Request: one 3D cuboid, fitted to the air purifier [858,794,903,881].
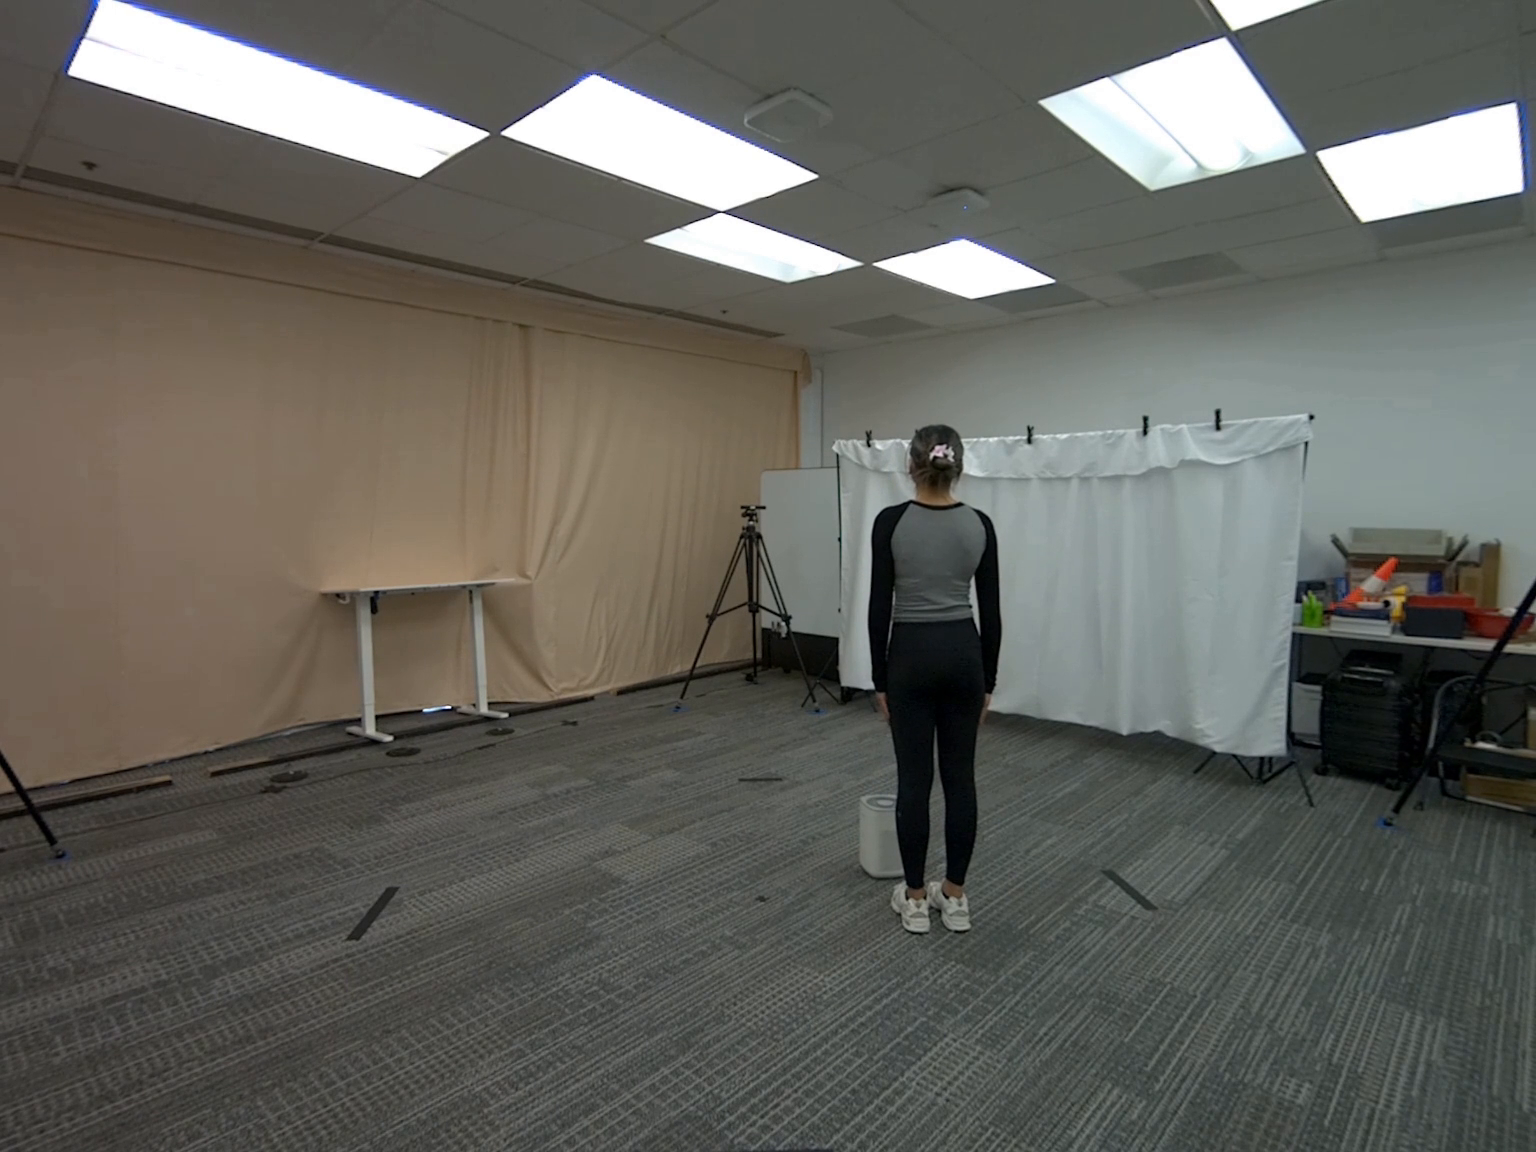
[{"bbox_3d":[0.450,0.989,3.195,0.169,0.265,0.173,0,2,-13],"label":"air purifier"}]
